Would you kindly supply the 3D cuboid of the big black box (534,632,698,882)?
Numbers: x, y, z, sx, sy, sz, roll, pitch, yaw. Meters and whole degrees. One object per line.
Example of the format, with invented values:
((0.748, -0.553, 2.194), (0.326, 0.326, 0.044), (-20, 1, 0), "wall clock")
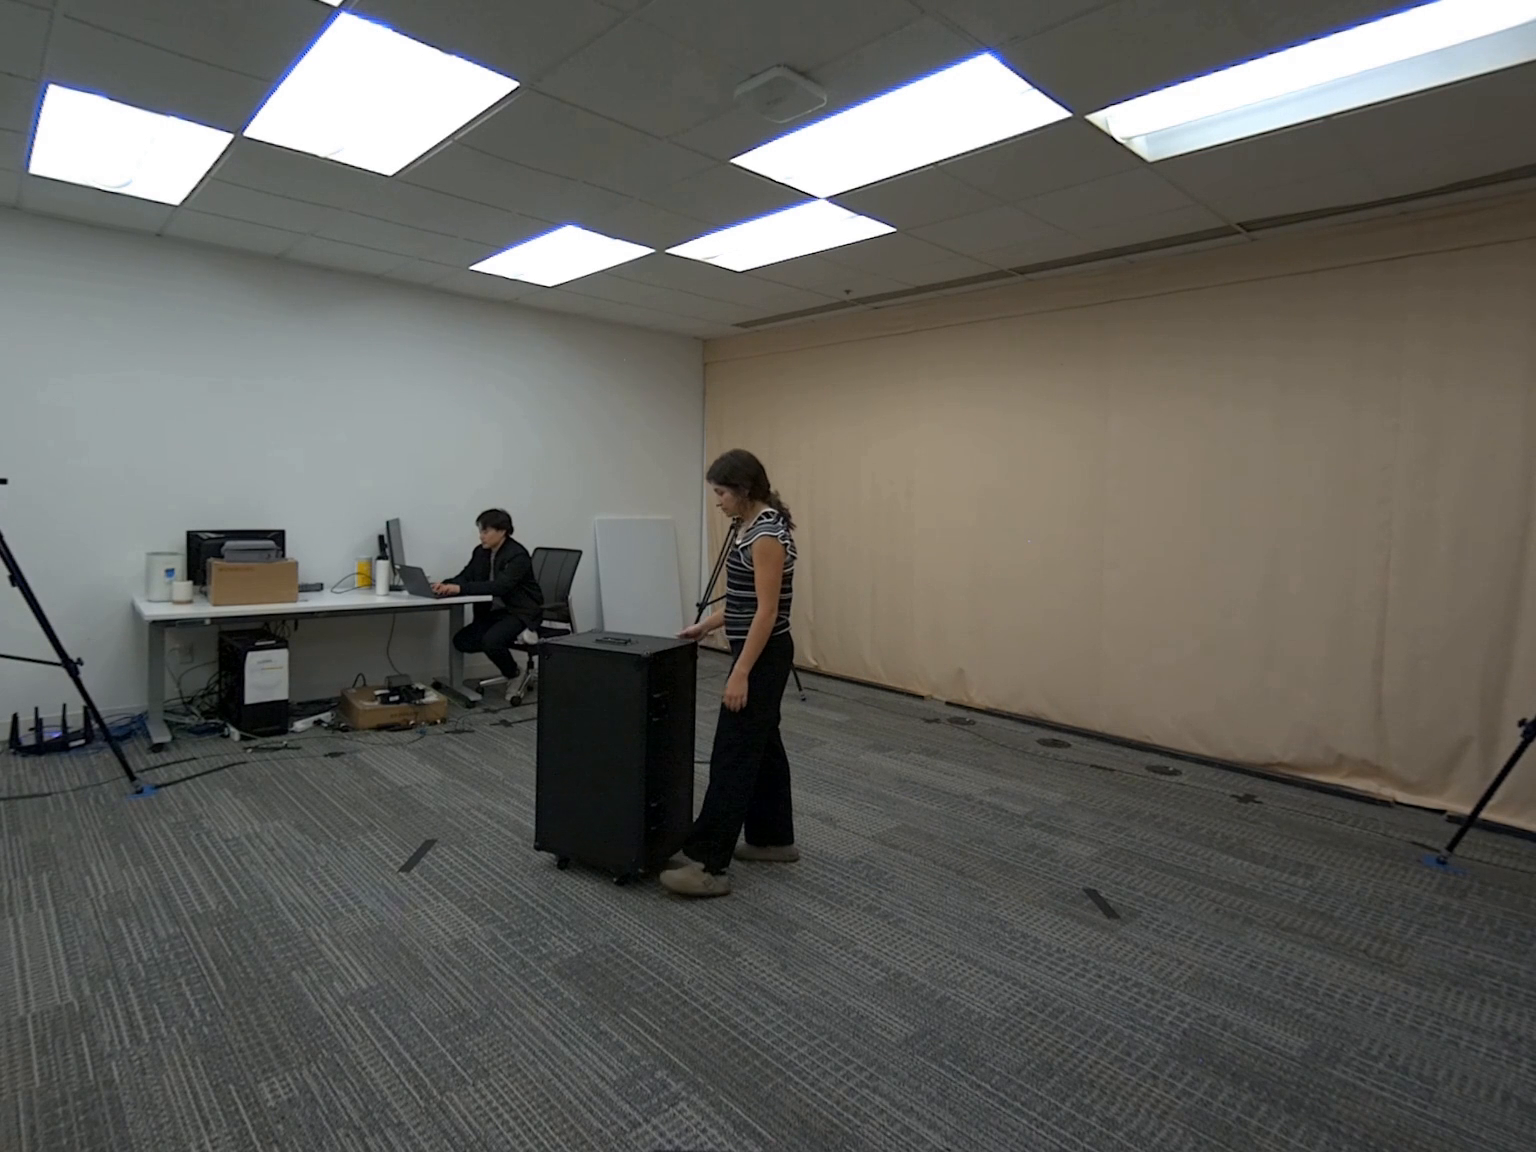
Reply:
((-0.578, 0.666, 3.165), (0.531, 0.860, 0.389), (3, 2, 25), "big black box")
